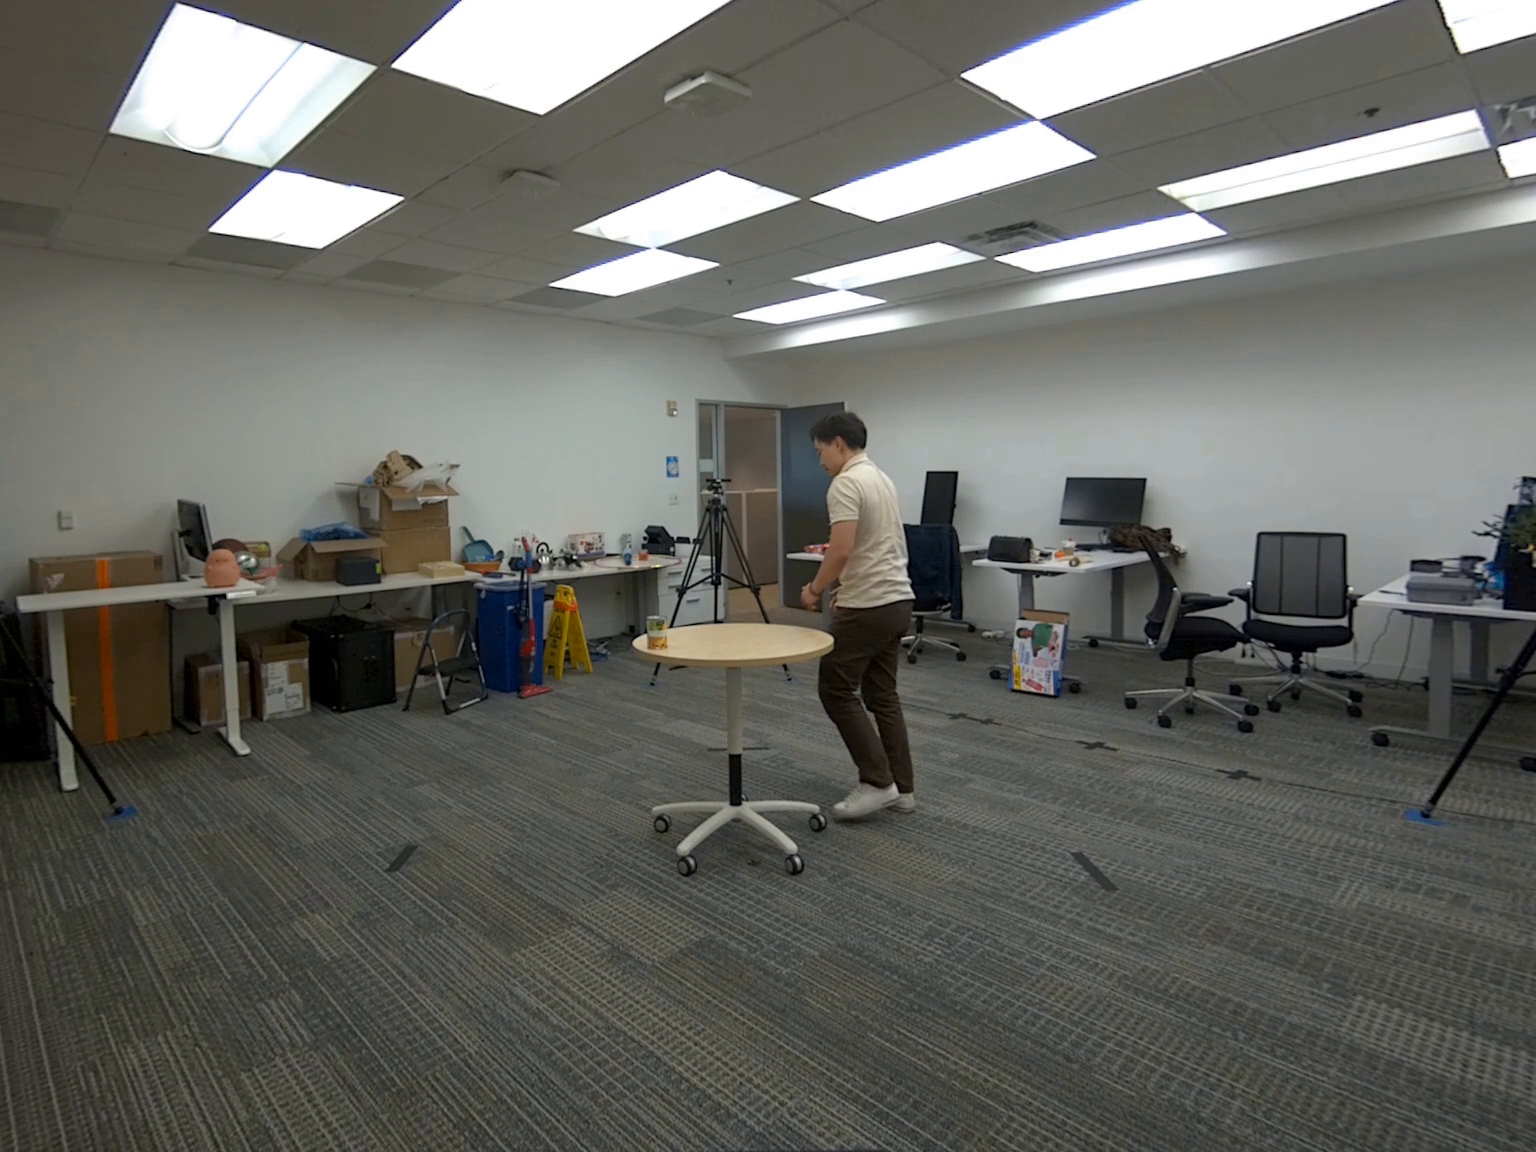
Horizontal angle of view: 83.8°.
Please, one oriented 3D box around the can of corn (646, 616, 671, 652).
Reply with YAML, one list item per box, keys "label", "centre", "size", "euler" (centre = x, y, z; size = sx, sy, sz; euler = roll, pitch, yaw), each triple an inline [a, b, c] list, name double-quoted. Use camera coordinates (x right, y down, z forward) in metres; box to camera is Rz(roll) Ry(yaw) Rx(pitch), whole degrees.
- label: "can of corn"
  centre: [-0.401, 0.208, 3.123]
  size: [0.074, 0.110, 0.074]
  euler: [-2, 5, -1]
